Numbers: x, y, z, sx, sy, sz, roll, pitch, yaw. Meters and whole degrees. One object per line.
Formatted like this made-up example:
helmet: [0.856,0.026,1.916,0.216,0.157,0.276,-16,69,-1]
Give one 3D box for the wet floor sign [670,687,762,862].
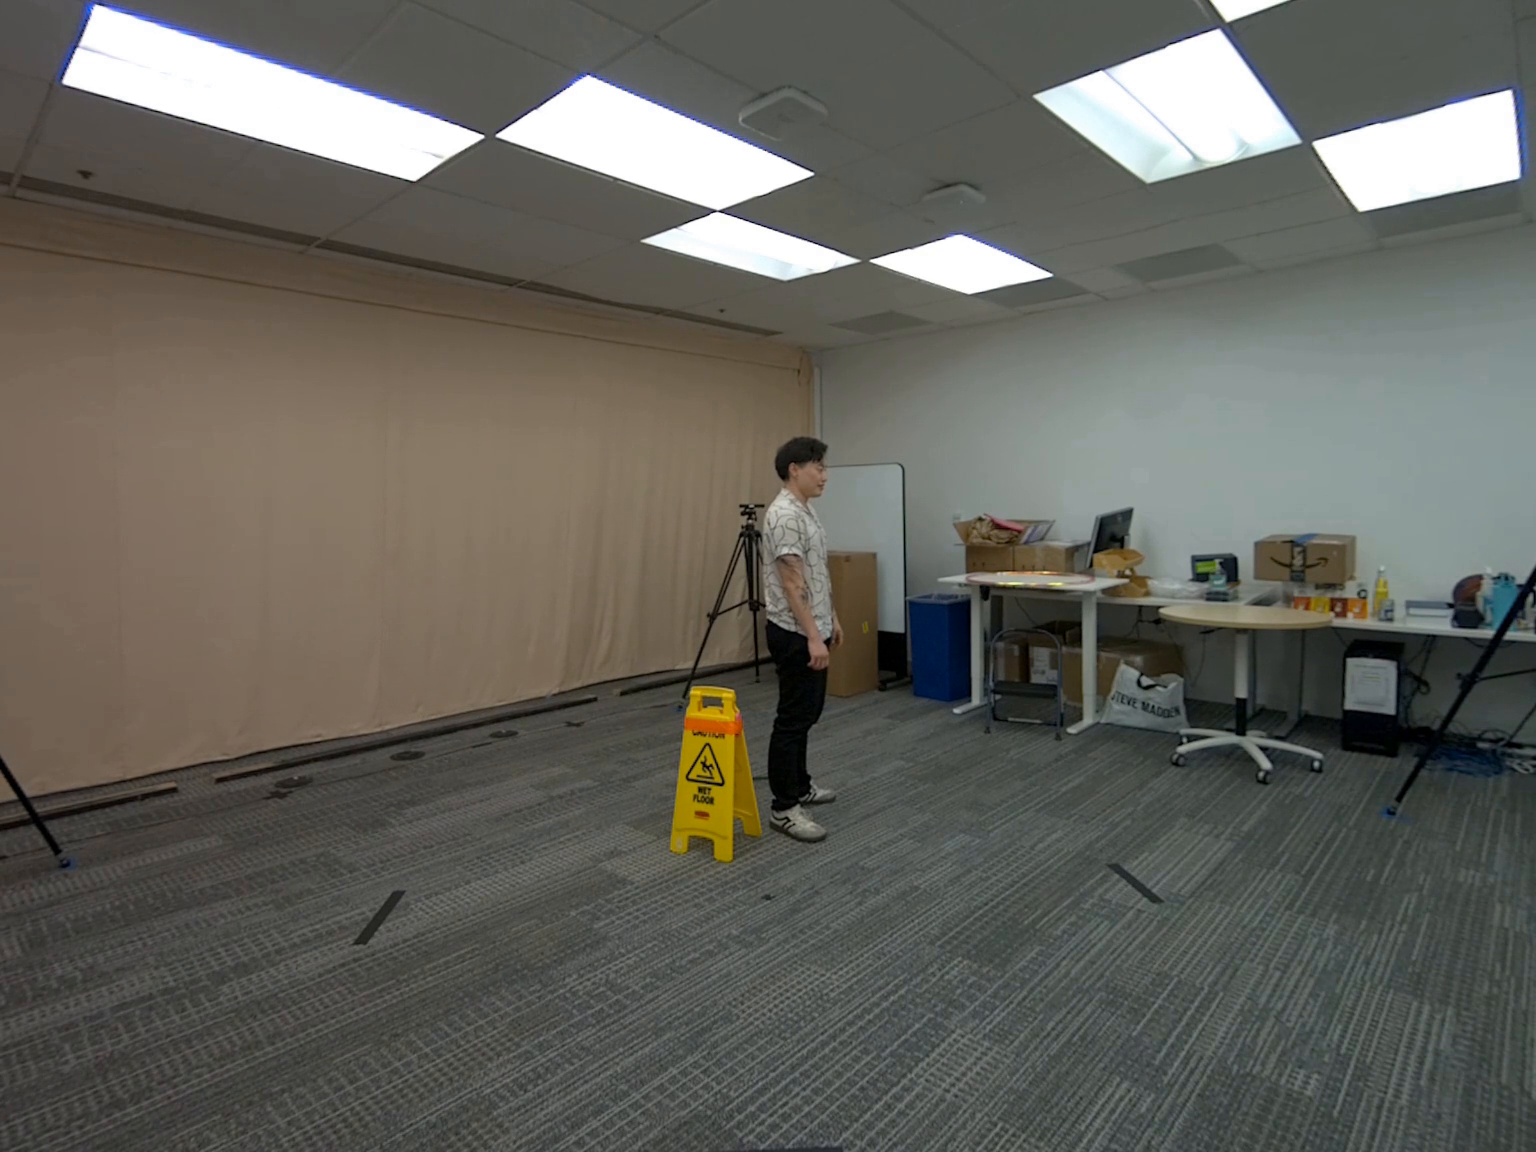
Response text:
wet floor sign: [-0.217,0.779,3.454,0.289,0.644,0.283,-1,4,26]
